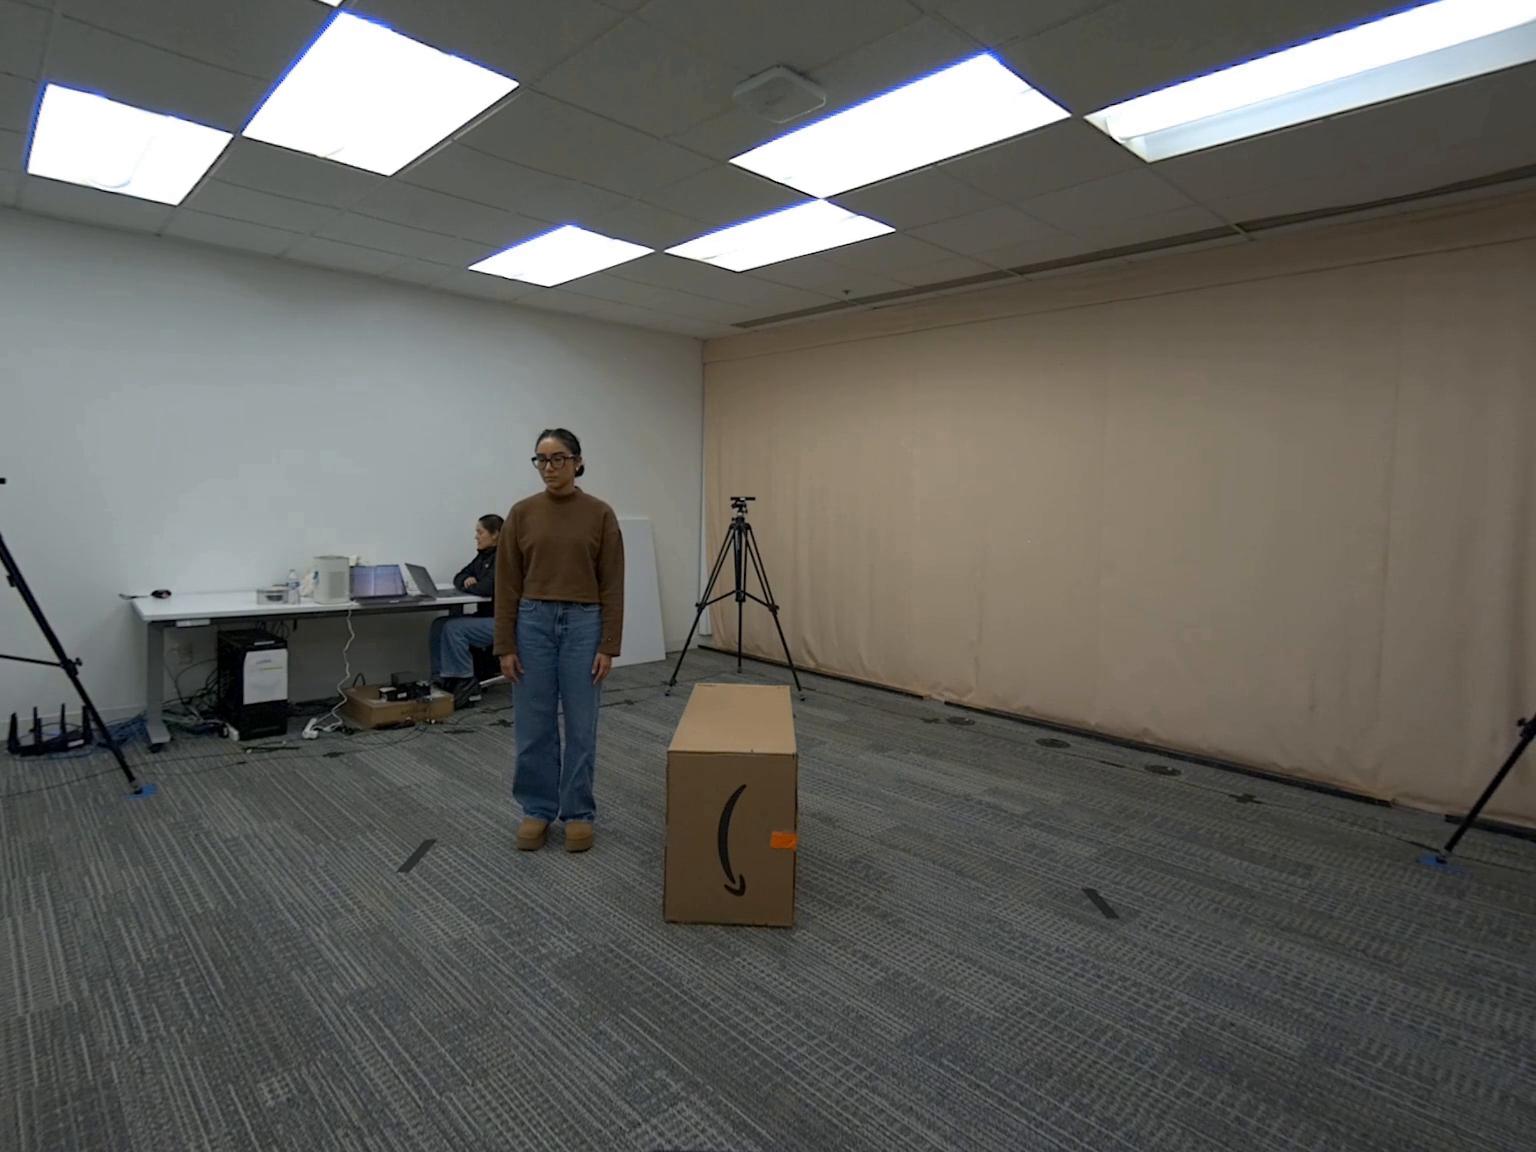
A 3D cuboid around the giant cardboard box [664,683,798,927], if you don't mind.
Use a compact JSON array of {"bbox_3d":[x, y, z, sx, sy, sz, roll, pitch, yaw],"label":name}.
[{"bbox_3d":[-0.124,0.810,3.231,0.447,0.582,1.028,0,5,1],"label":"giant cardboard box"}]
